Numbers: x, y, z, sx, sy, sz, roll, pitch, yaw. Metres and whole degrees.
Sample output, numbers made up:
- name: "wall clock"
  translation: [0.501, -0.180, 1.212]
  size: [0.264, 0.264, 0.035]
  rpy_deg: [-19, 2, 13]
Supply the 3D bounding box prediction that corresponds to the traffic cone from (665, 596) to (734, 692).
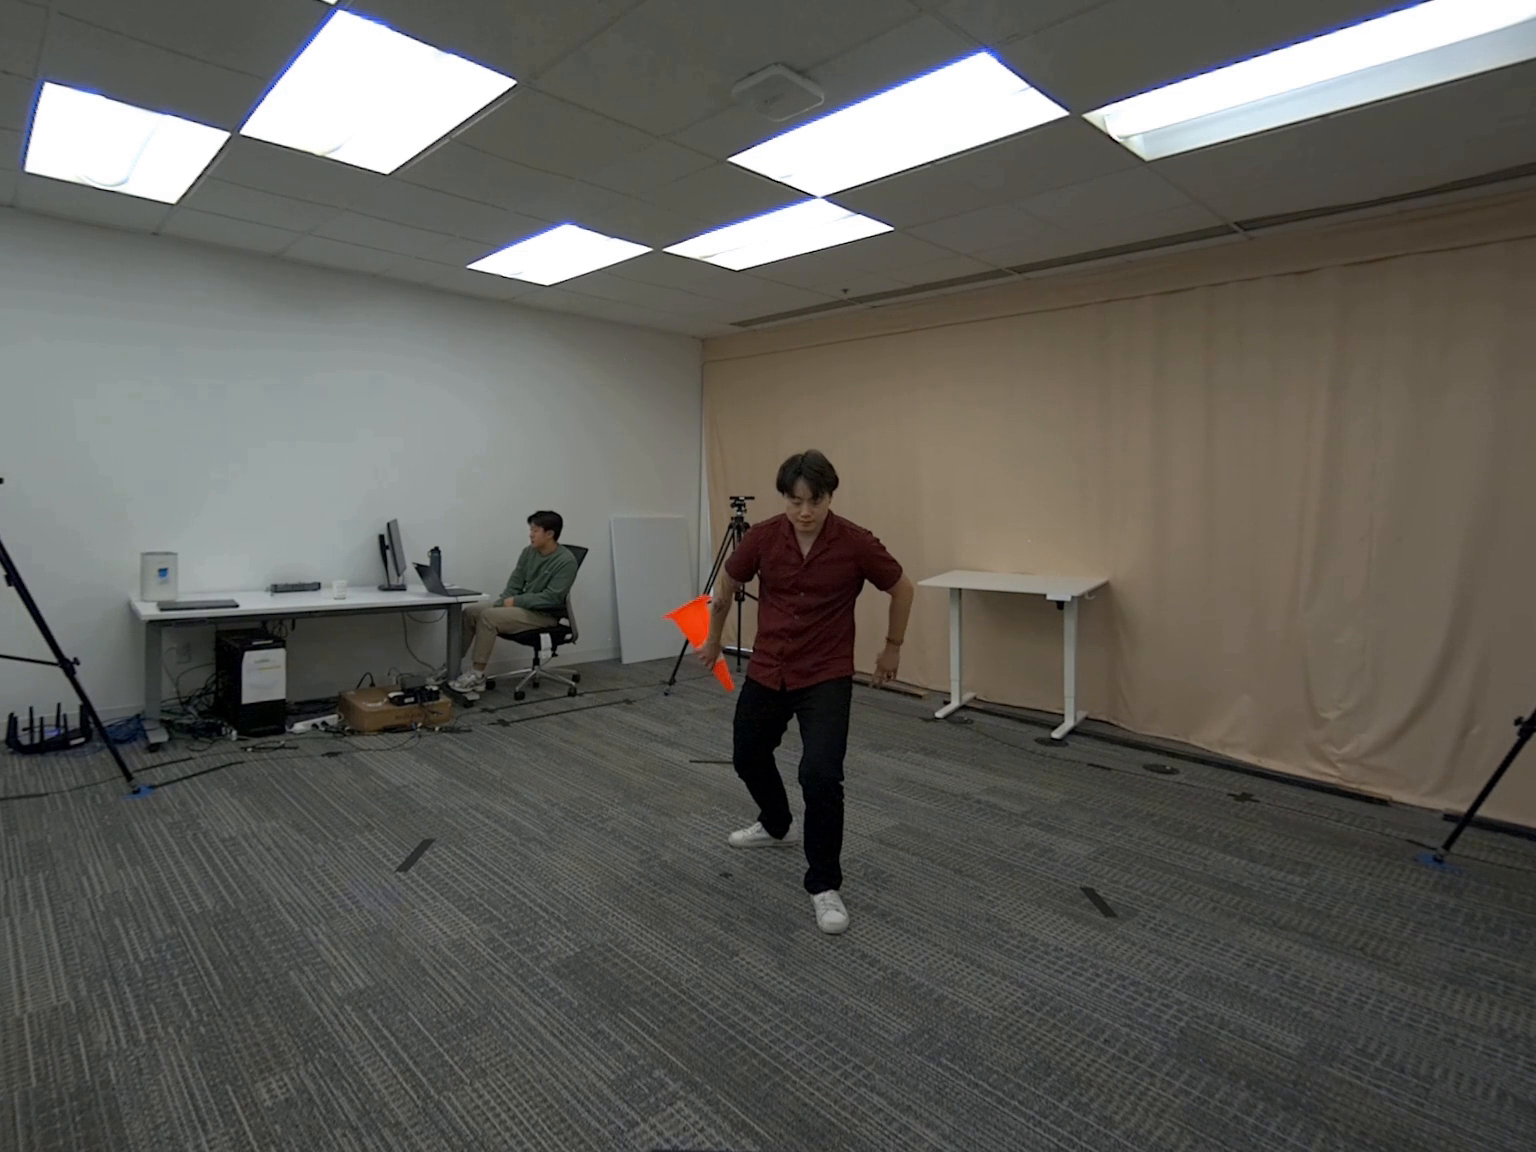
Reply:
- name: "traffic cone"
  translation: [-0.234, 0.297, 3.400]
  size: [0.206, 0.387, 0.200]
  rpy_deg: [-28, -9, 11]
